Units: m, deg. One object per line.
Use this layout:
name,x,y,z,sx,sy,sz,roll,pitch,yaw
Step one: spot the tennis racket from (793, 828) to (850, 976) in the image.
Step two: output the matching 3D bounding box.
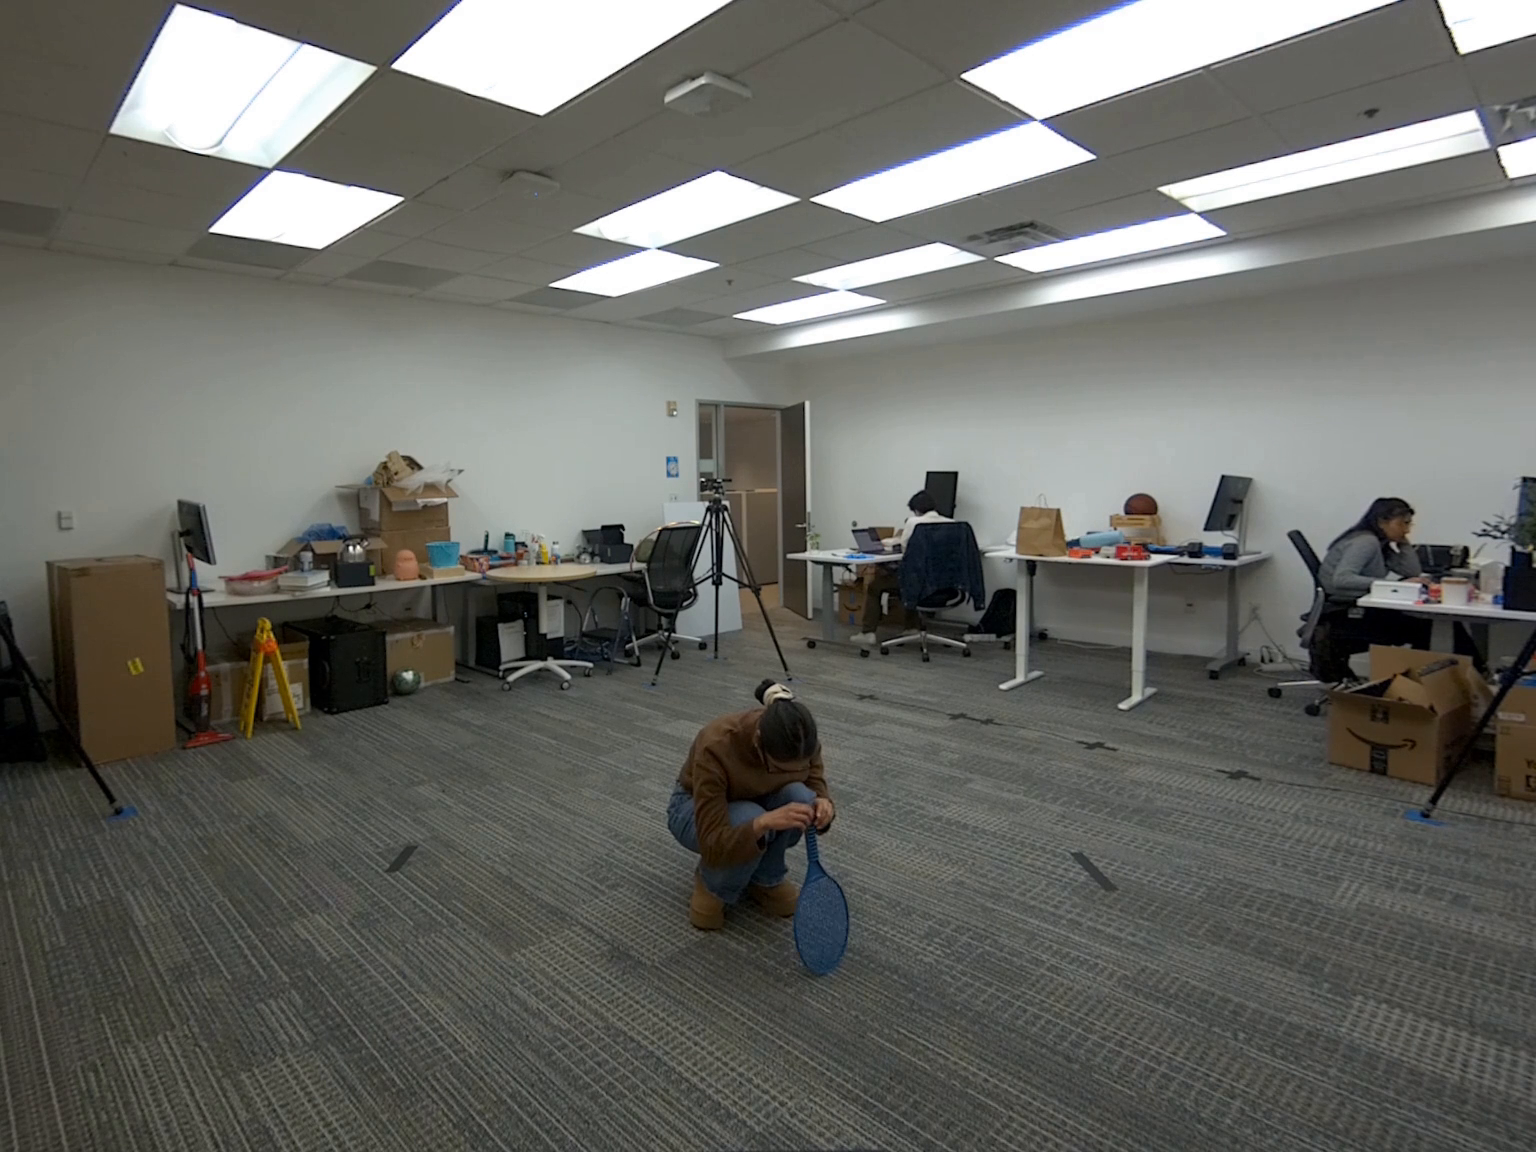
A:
tennis racket,0.156,0.908,2.431,0.208,0.434,0.032,0,-5,-41
